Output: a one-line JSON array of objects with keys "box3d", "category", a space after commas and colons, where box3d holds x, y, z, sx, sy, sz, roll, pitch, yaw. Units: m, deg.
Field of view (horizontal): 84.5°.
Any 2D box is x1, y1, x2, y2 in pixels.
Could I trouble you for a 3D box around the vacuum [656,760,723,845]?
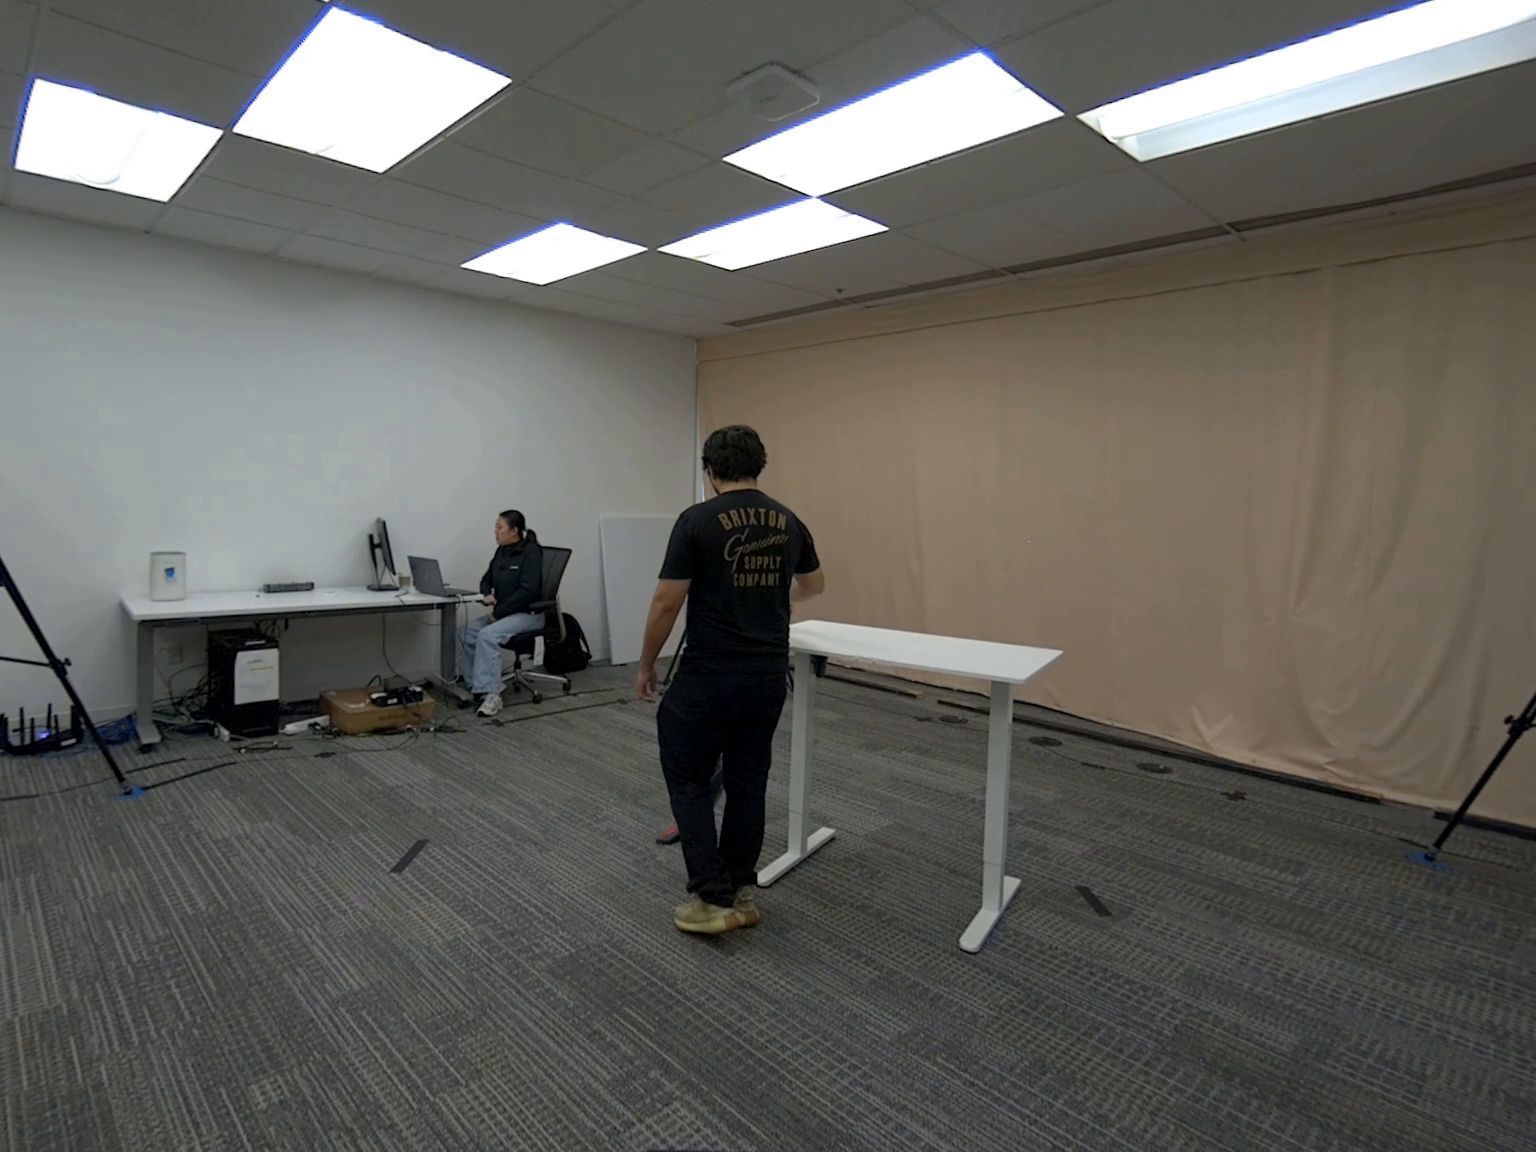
[{"box3d": [-0.148, 0.606, 3.350, 0.147, 1.044, 0.248, 28, 14, 20], "category": "vacuum"}]
